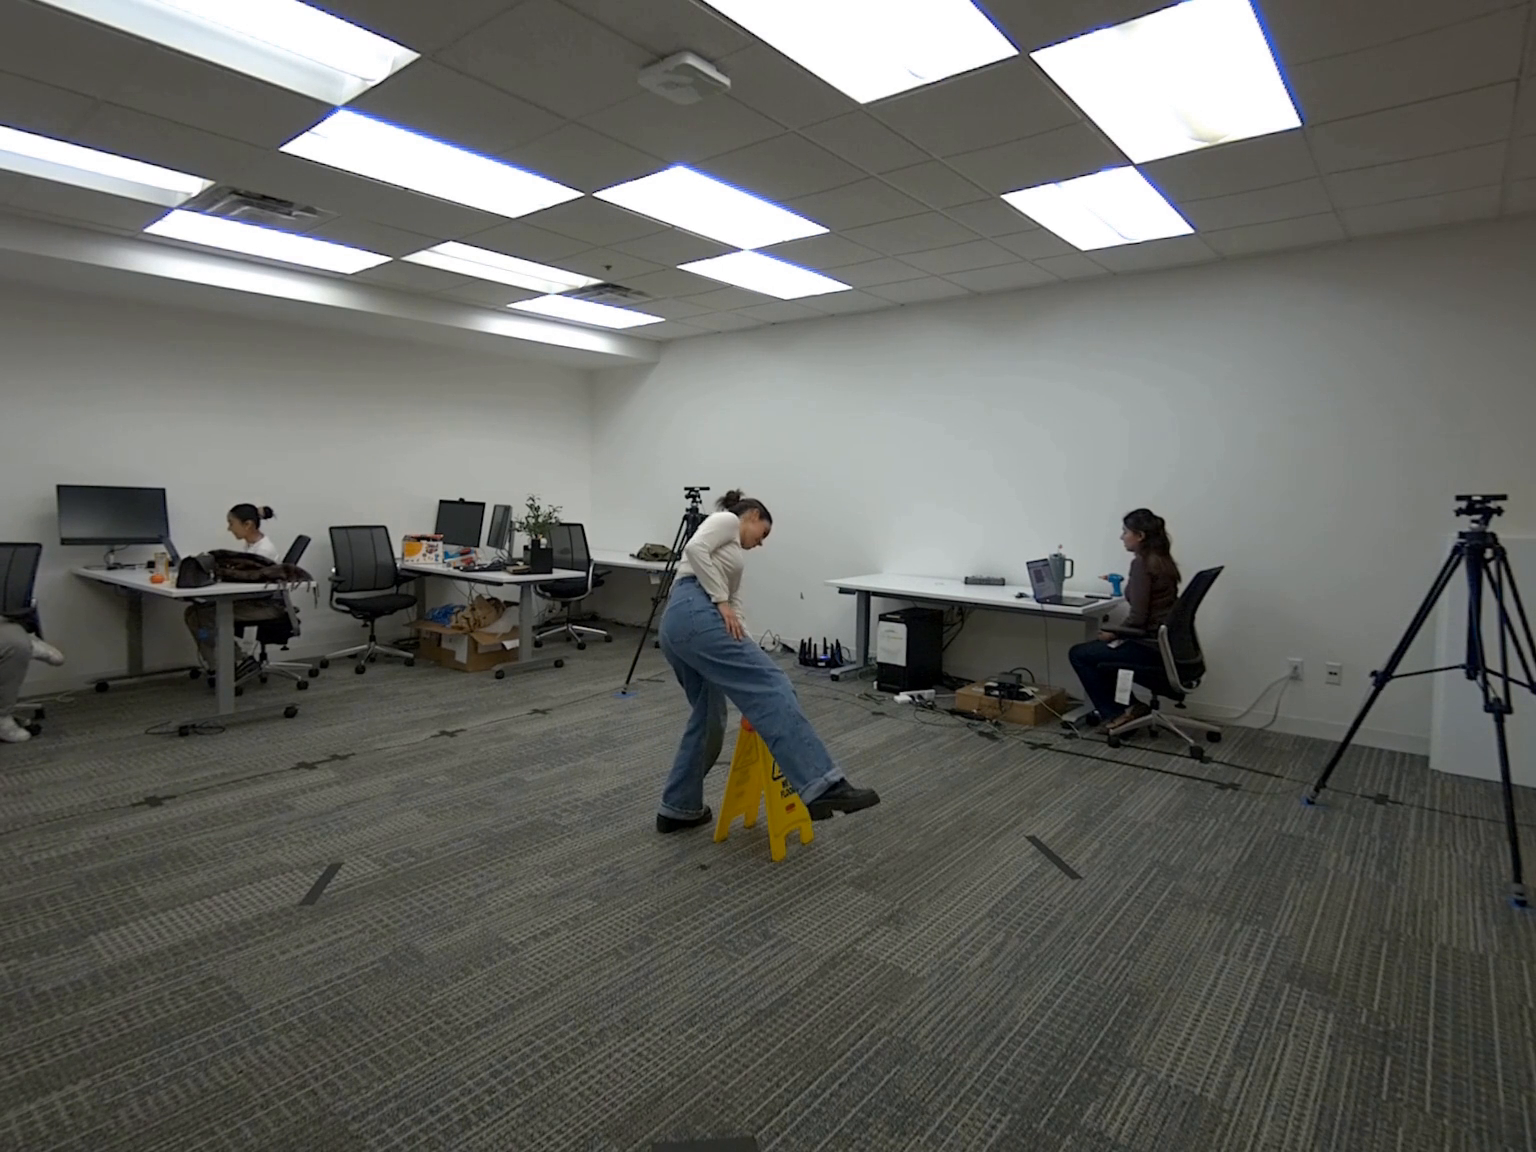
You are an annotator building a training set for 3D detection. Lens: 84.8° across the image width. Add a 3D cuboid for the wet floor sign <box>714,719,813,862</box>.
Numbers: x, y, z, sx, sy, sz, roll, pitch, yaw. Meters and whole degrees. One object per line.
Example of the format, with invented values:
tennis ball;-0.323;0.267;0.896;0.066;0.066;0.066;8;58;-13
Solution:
wet floor sign;-0.015;0.725;3.348;0.299;0.644;0.274;3;4;35
